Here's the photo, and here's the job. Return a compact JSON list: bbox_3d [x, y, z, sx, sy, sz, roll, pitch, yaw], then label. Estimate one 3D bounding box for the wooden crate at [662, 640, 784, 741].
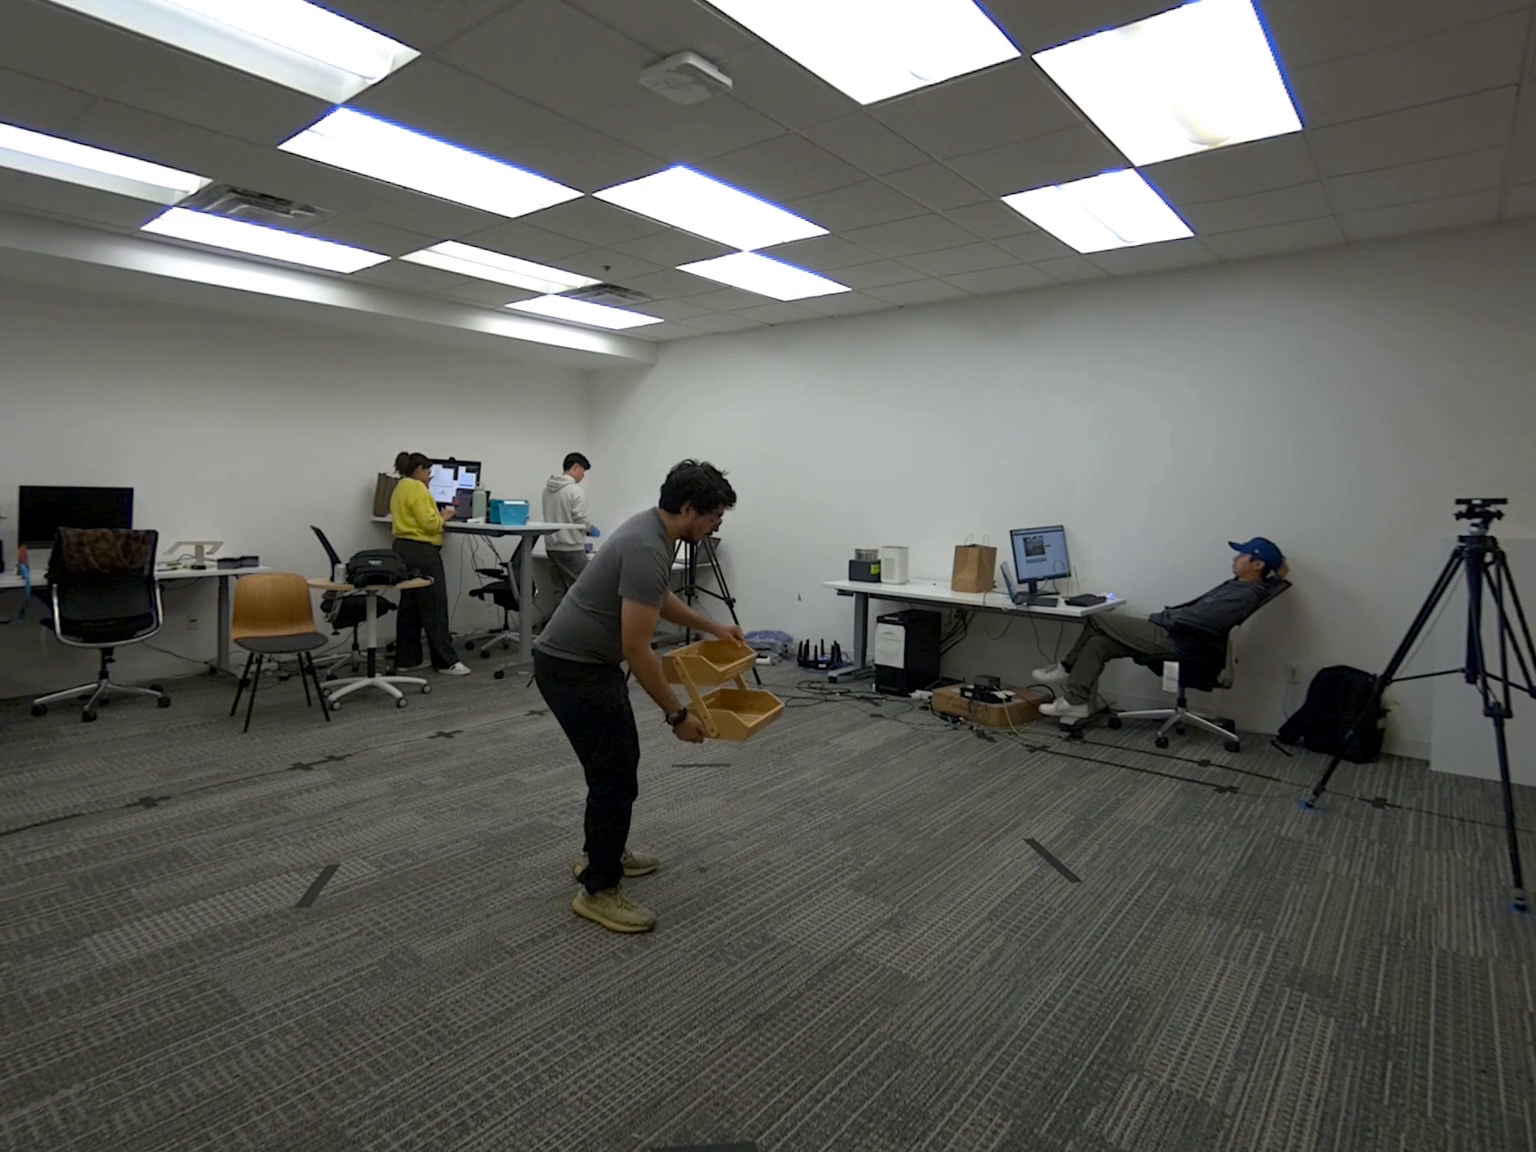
[{"bbox_3d":[-0.151,0.369,2.822,0.309,0.273,0.318,-2,4,25],"label":"wooden crate"}]
